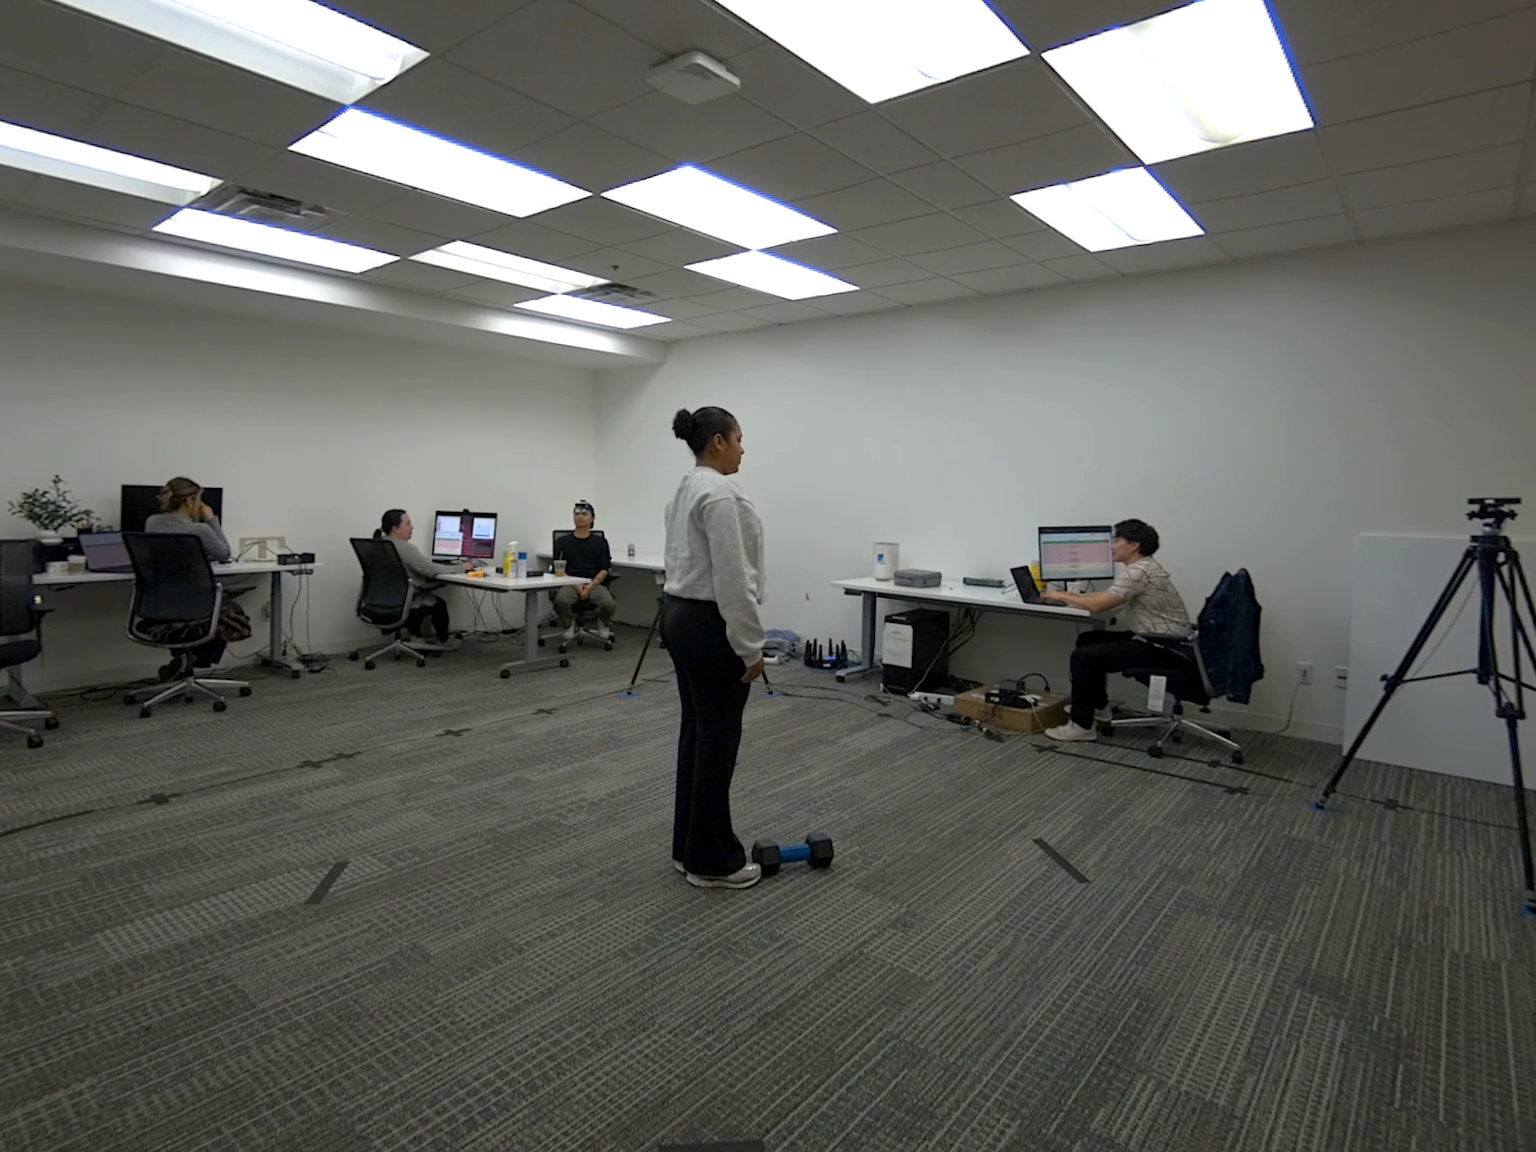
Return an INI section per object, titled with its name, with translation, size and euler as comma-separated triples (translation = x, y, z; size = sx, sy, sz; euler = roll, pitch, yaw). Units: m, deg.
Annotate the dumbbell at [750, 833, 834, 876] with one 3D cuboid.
[dumbbell]
translation = 0.085, 1.025, 3.118
size = 0.288, 0.126, 0.108
euler = -1, -23, -19
